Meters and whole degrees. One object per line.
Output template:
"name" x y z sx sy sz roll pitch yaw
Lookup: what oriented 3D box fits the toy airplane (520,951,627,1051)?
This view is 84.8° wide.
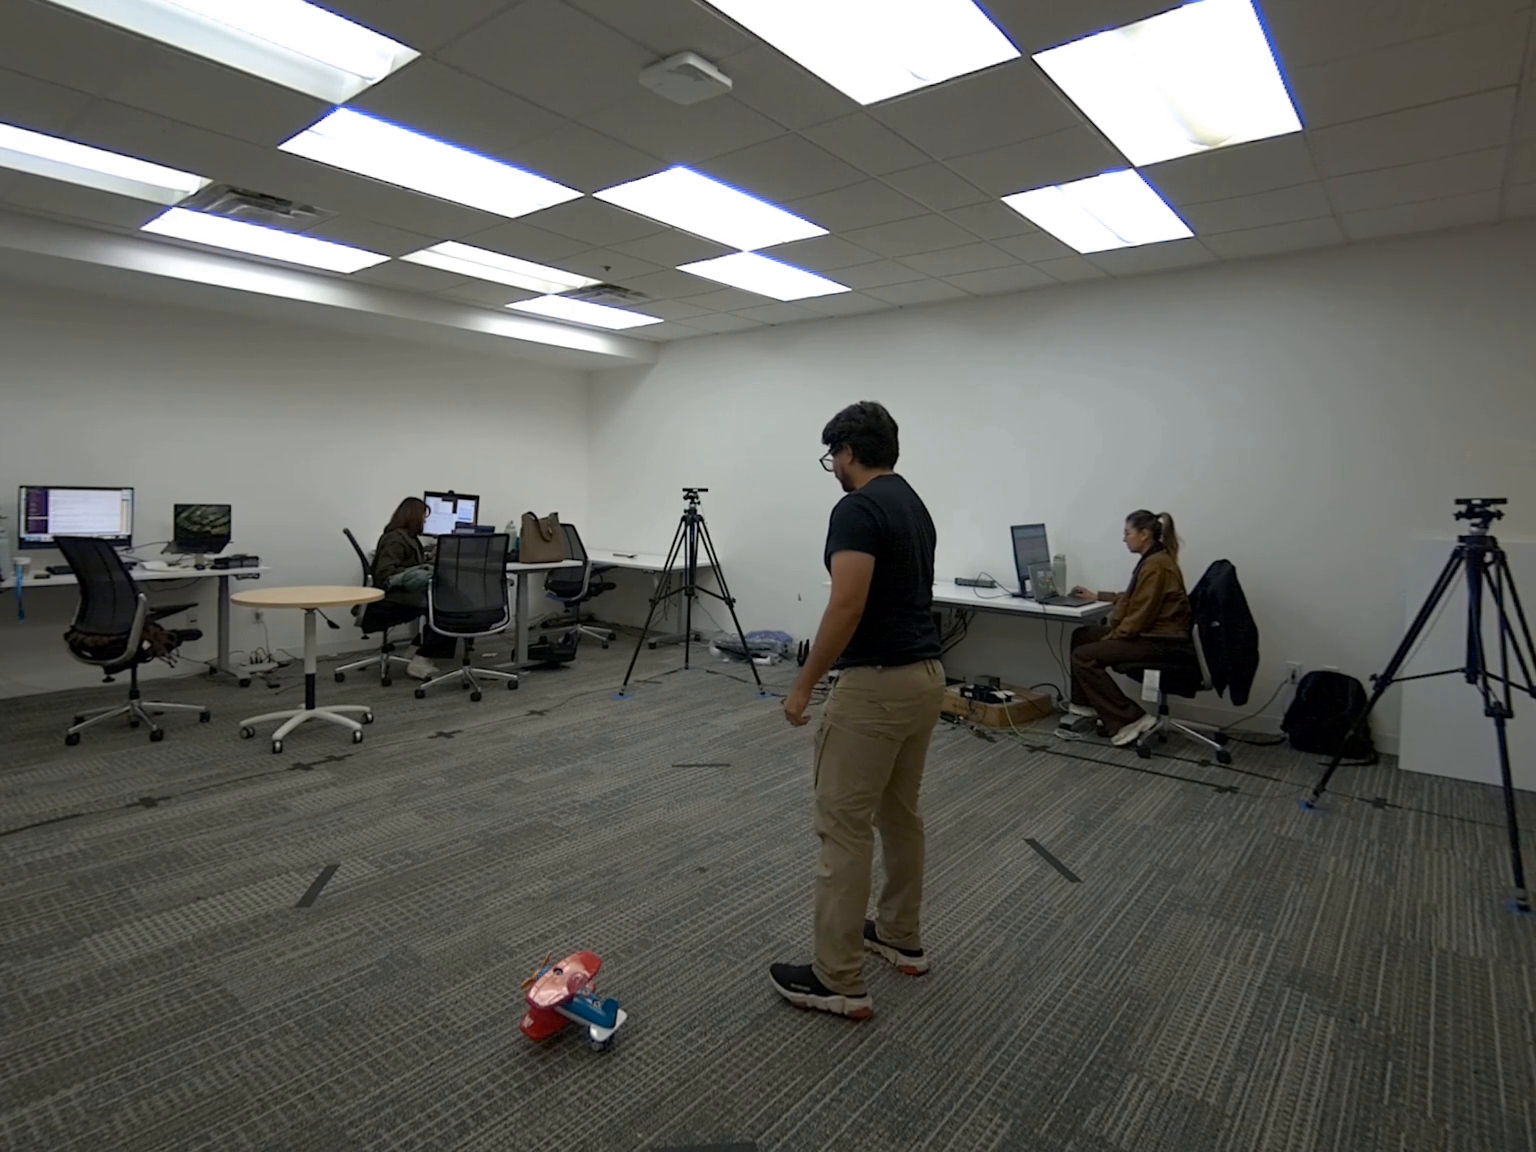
"toy airplane" -0.490 1.086 2.176 0.259 0.156 0.252 -1 5 -2
